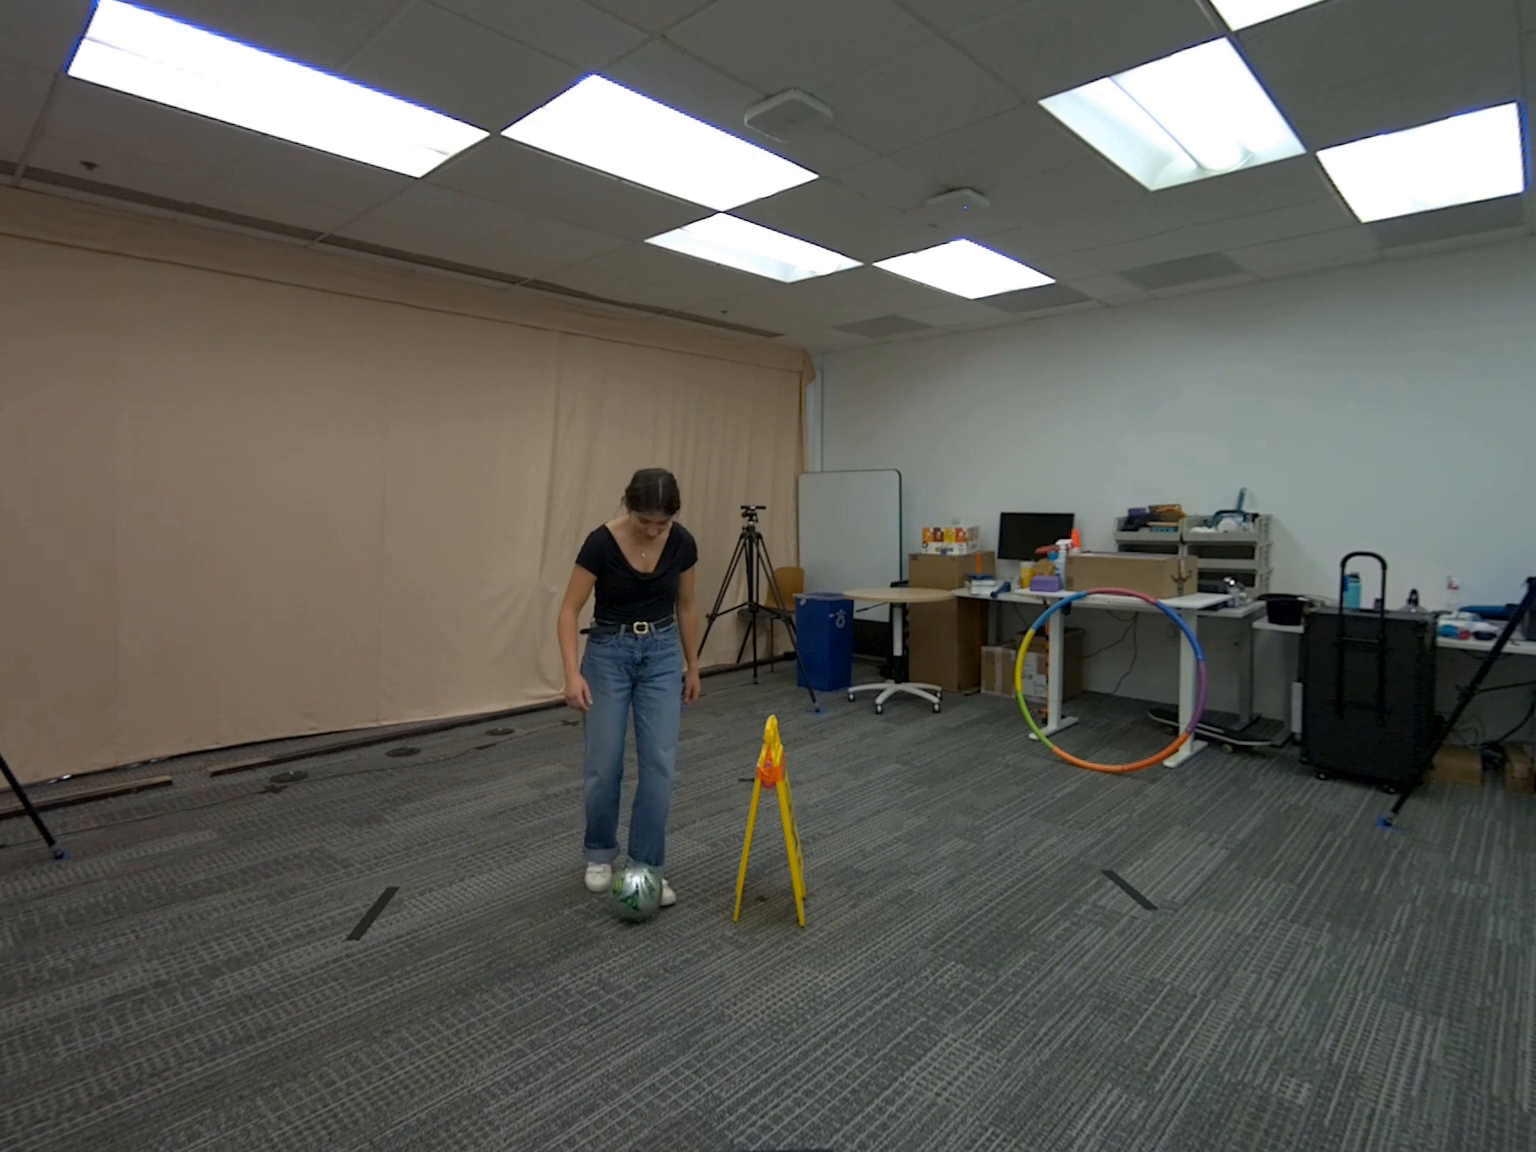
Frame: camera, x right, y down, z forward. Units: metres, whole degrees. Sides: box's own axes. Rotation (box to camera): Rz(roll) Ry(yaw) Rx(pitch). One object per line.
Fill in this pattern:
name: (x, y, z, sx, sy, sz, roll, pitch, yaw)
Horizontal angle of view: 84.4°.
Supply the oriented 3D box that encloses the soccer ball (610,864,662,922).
soccer ball: (-0.441, 1.065, 2.855, 0.187, 0.187, 0.188, 0, 4, -2)
